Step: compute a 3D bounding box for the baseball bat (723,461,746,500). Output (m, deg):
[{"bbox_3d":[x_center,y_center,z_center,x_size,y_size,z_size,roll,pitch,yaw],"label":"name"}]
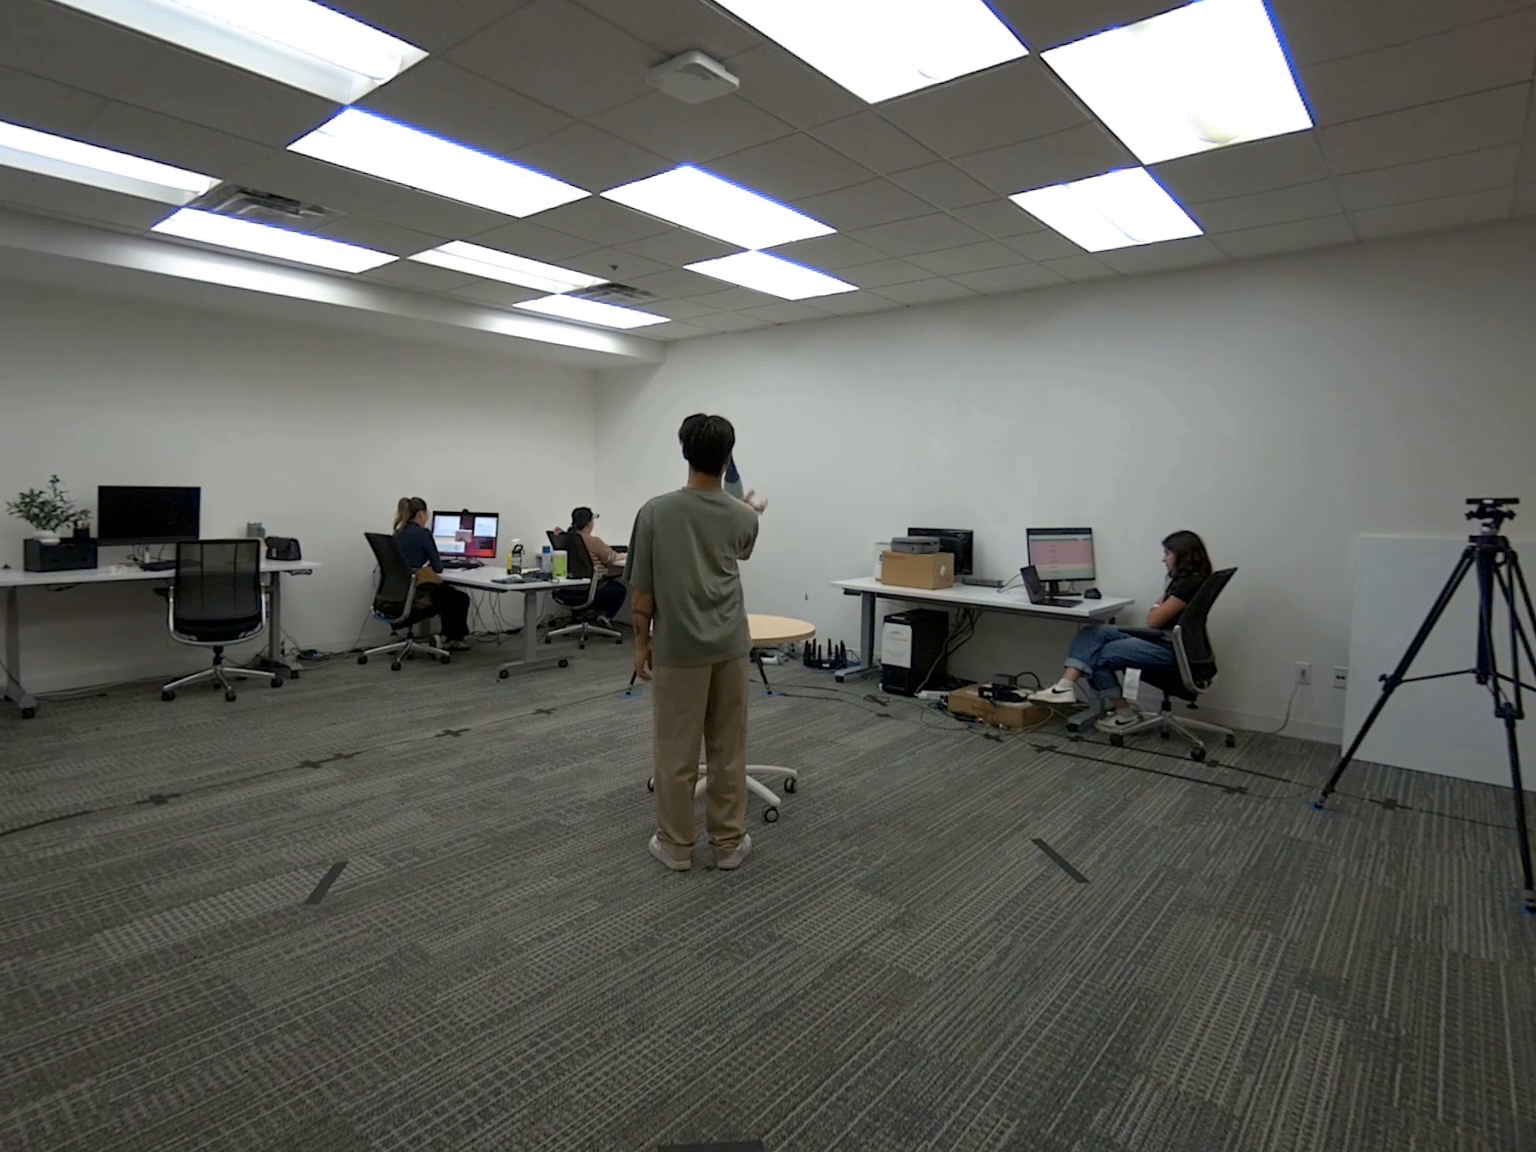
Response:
[{"bbox_3d":[-0.170,-0.406,3.693,0.089,0.091,0.528,2,-30,3],"label":"baseball bat"}]
